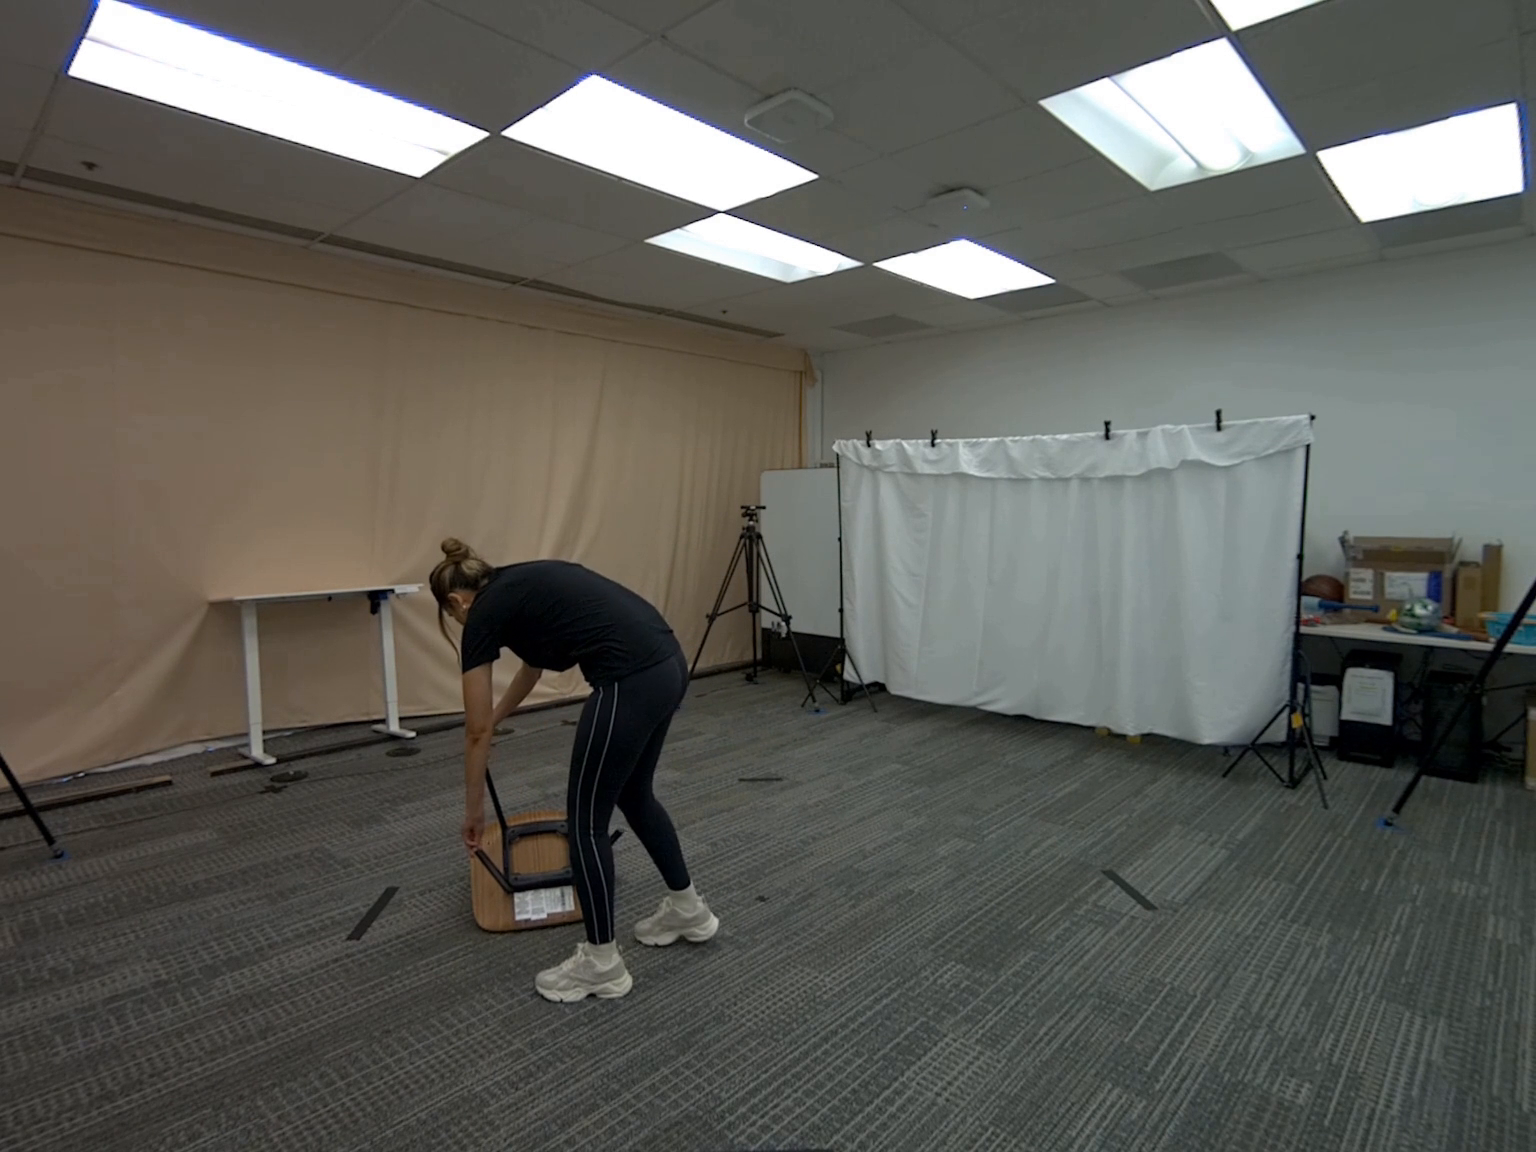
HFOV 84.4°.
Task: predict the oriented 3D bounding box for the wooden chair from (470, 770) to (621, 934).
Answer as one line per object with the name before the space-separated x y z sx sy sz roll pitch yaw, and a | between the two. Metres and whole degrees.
wooden chair | -0.803 0.982 2.961 0.469 0.869 0.538 -1 44 -19
